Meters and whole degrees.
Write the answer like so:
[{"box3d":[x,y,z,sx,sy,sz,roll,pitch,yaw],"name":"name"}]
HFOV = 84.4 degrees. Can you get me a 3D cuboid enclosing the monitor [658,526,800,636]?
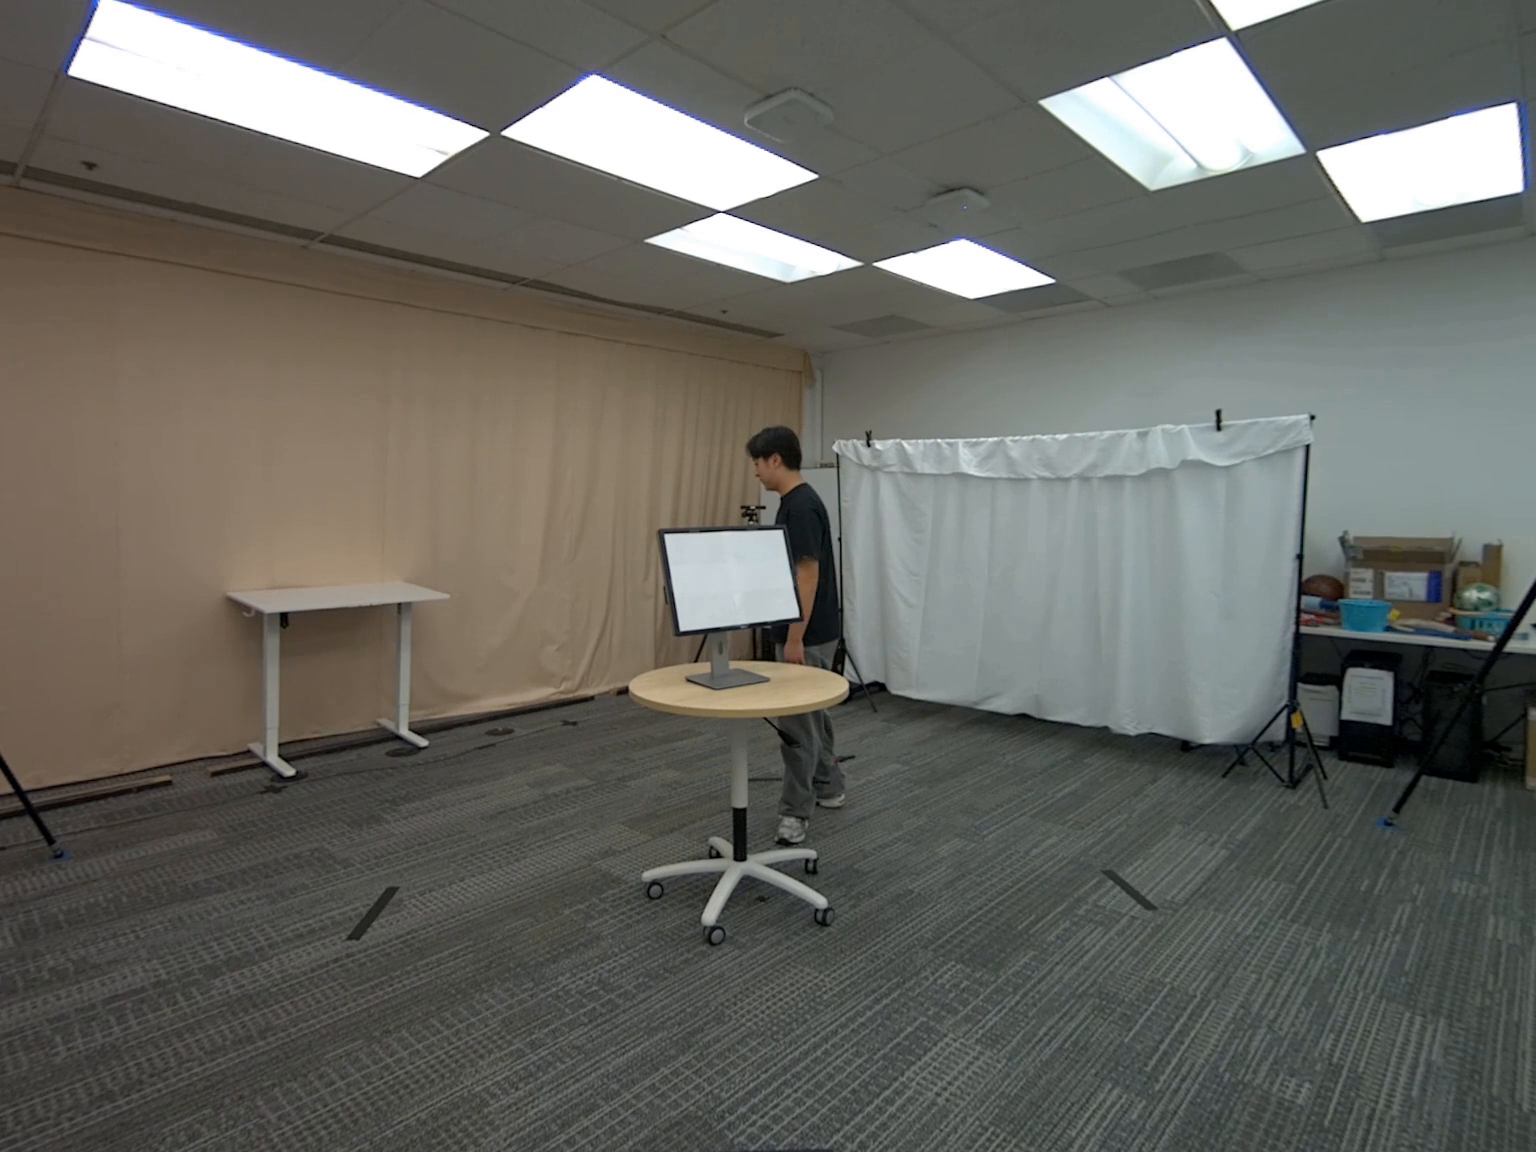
[{"box3d":[-0.140,0.109,2.953,0.546,0.564,0.229,-4,6,-35],"name":"monitor"}]
